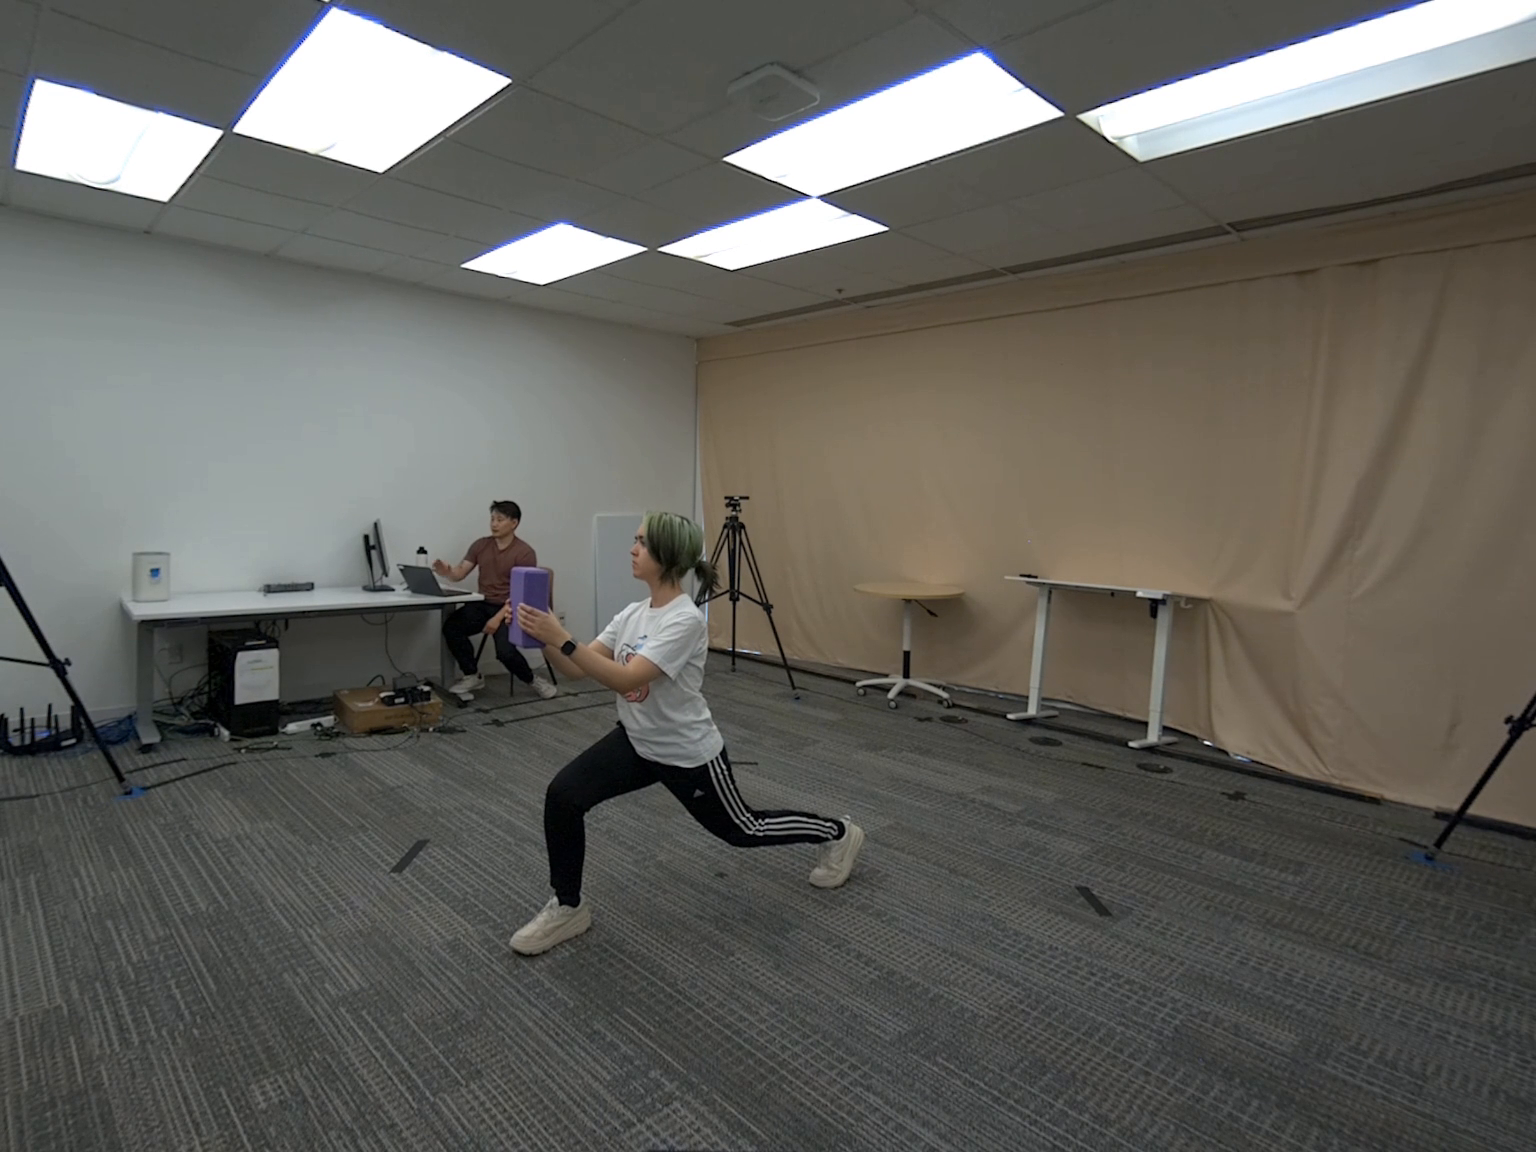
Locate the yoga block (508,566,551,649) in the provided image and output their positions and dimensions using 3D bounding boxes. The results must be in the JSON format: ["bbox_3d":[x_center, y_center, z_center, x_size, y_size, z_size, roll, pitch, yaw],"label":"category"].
[{"bbox_3d":[-0.721,0.094,2.505,0.075,0.229,0.152,3,1,-32],"label":"yoga block"}]
